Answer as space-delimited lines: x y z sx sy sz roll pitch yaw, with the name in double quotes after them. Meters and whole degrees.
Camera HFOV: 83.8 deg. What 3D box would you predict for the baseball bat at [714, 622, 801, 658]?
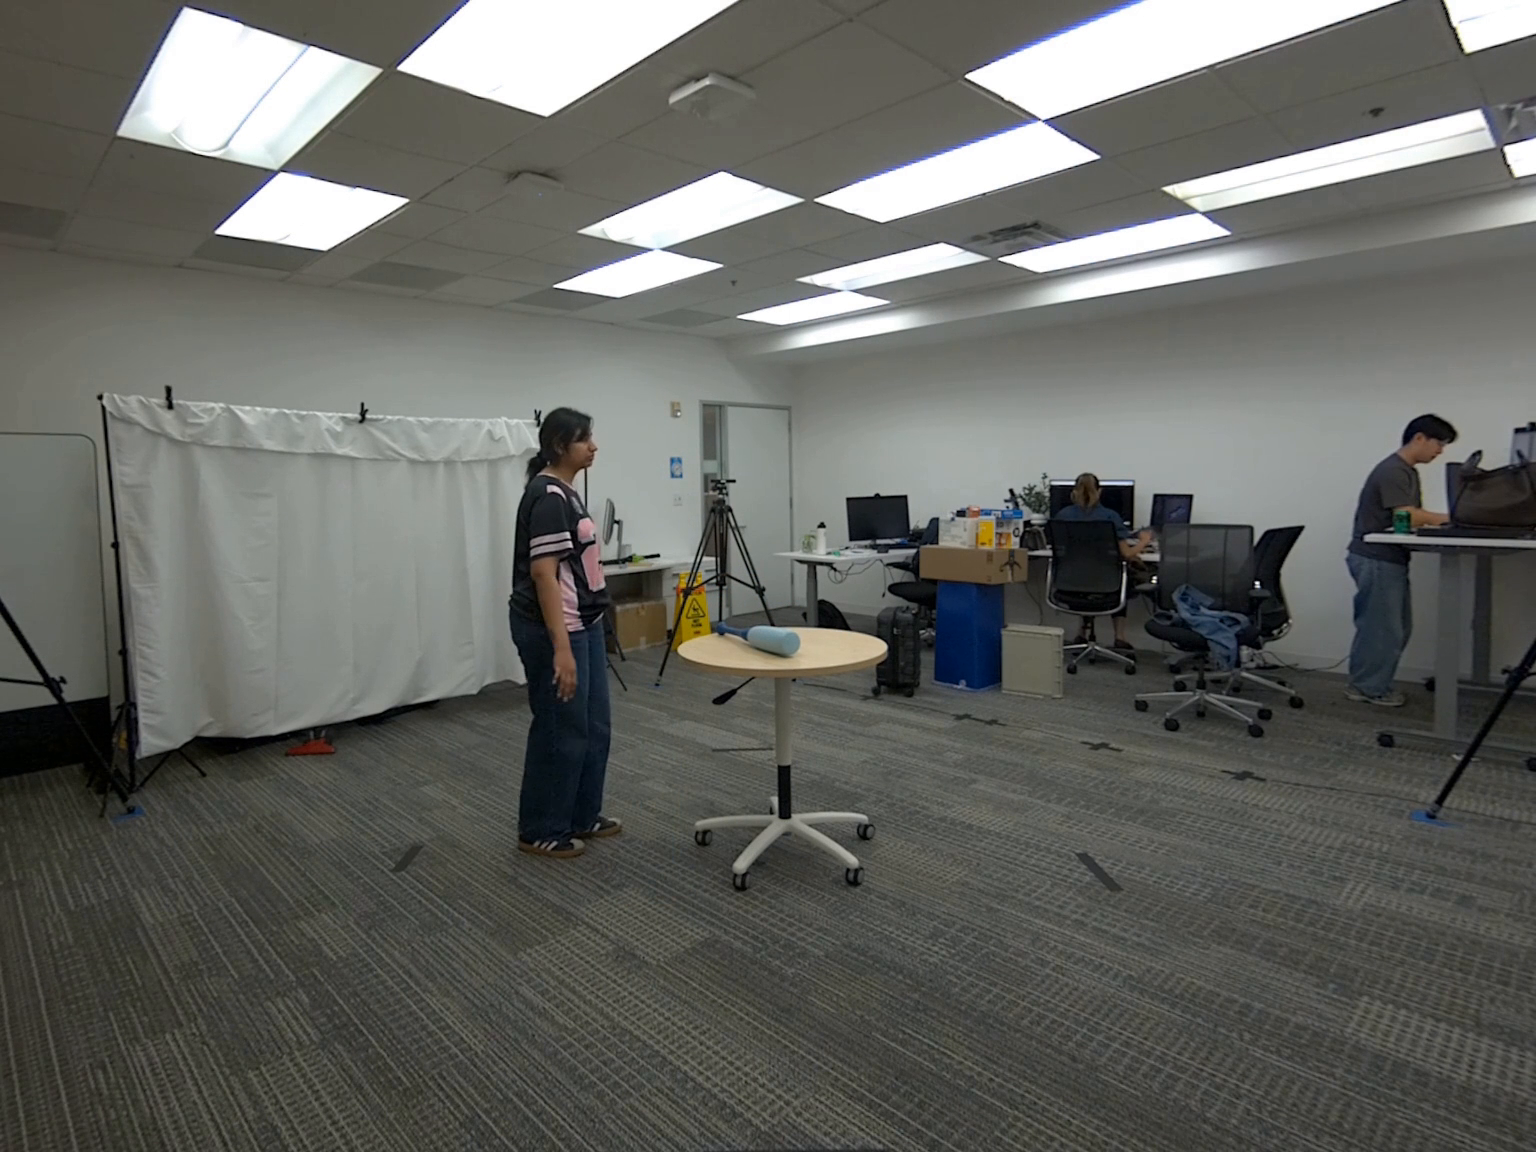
-0.060 0.221 3.157 0.087 0.089 0.557 -4 4 -30 "baseball bat"
